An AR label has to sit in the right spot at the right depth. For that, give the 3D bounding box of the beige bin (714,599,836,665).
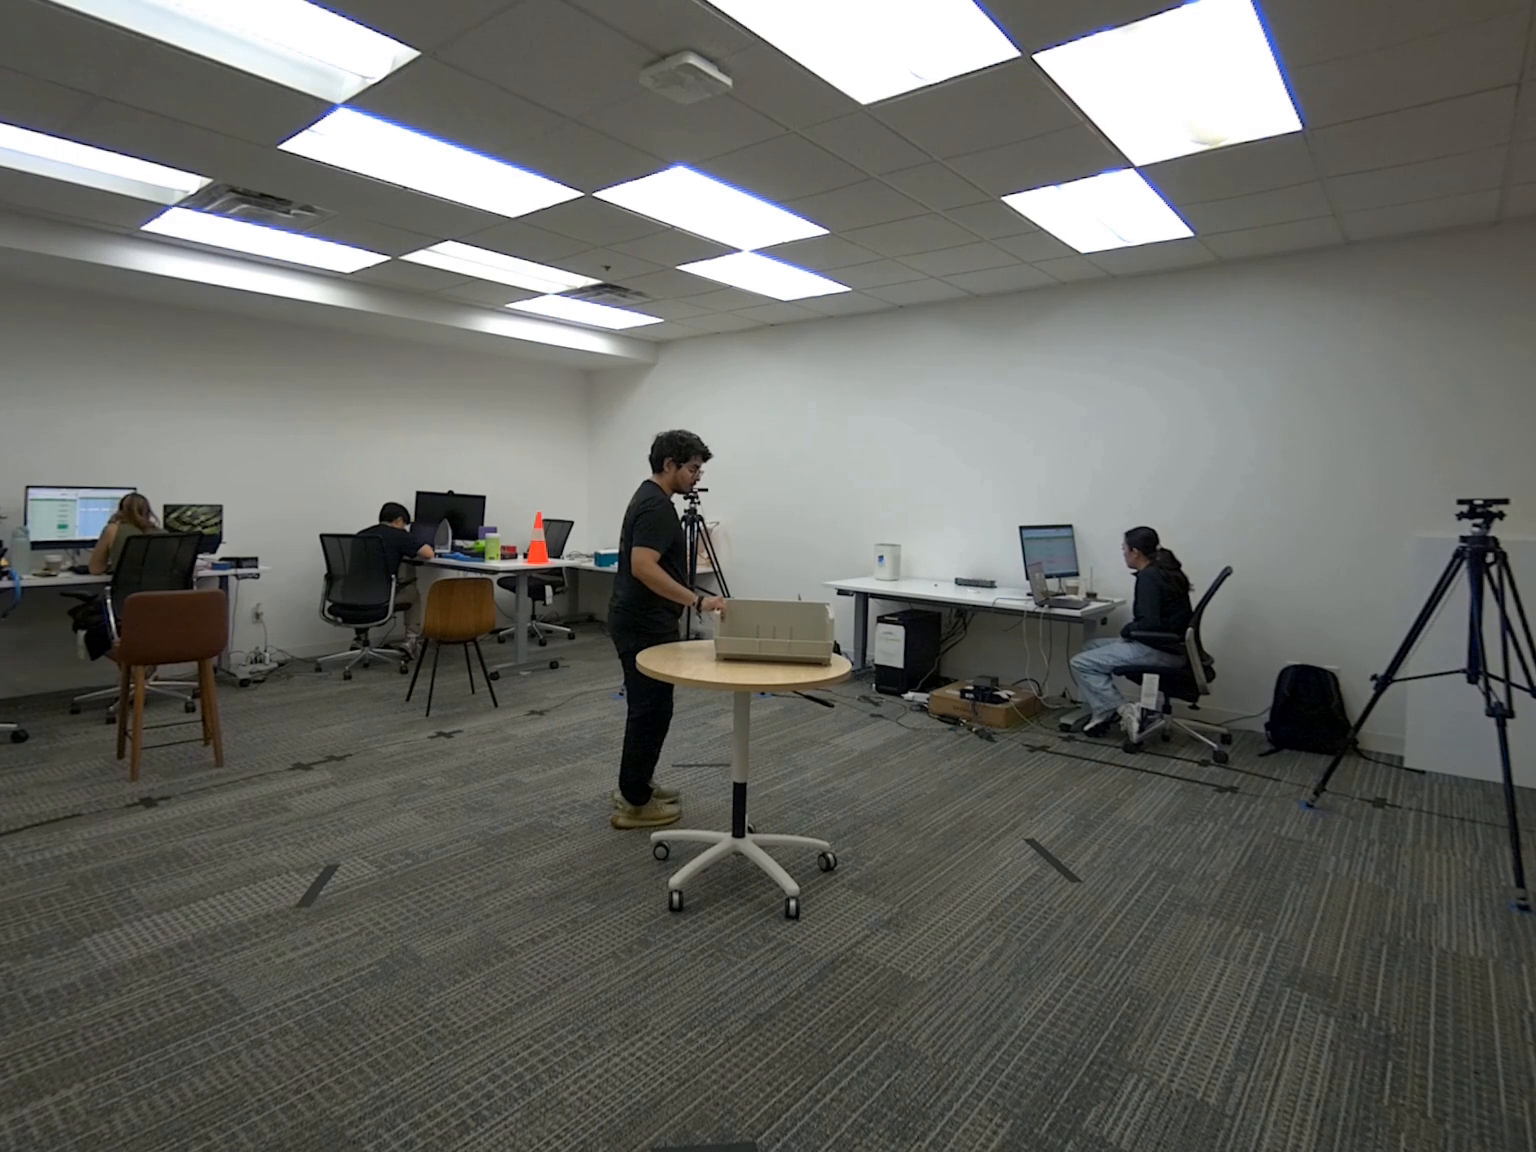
[{"bbox_3d":[0.015,0.204,3.114,0.425,0.188,0.376,3,4,4],"label":"beige bin"}]
